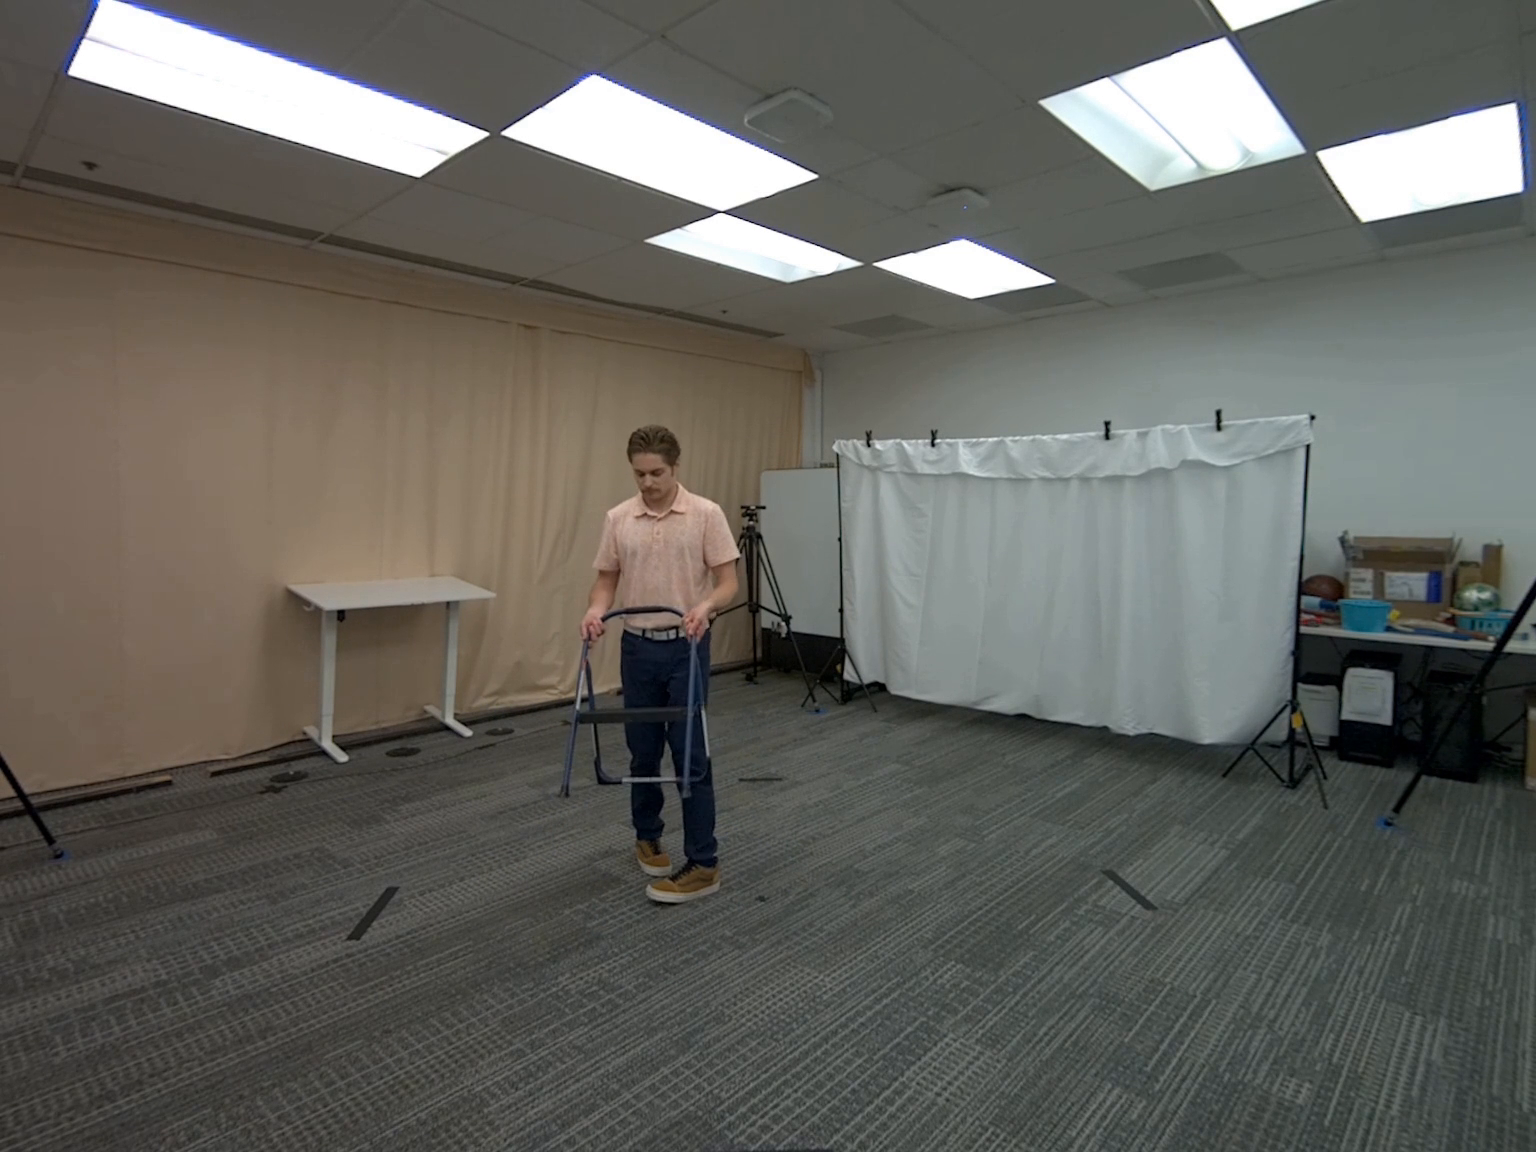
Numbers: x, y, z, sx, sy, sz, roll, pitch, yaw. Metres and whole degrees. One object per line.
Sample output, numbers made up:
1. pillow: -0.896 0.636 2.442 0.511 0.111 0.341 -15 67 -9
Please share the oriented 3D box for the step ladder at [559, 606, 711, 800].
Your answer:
1. step ladder: -0.428 0.402 2.812 0.436 0.610 0.343 -4 -10 11
